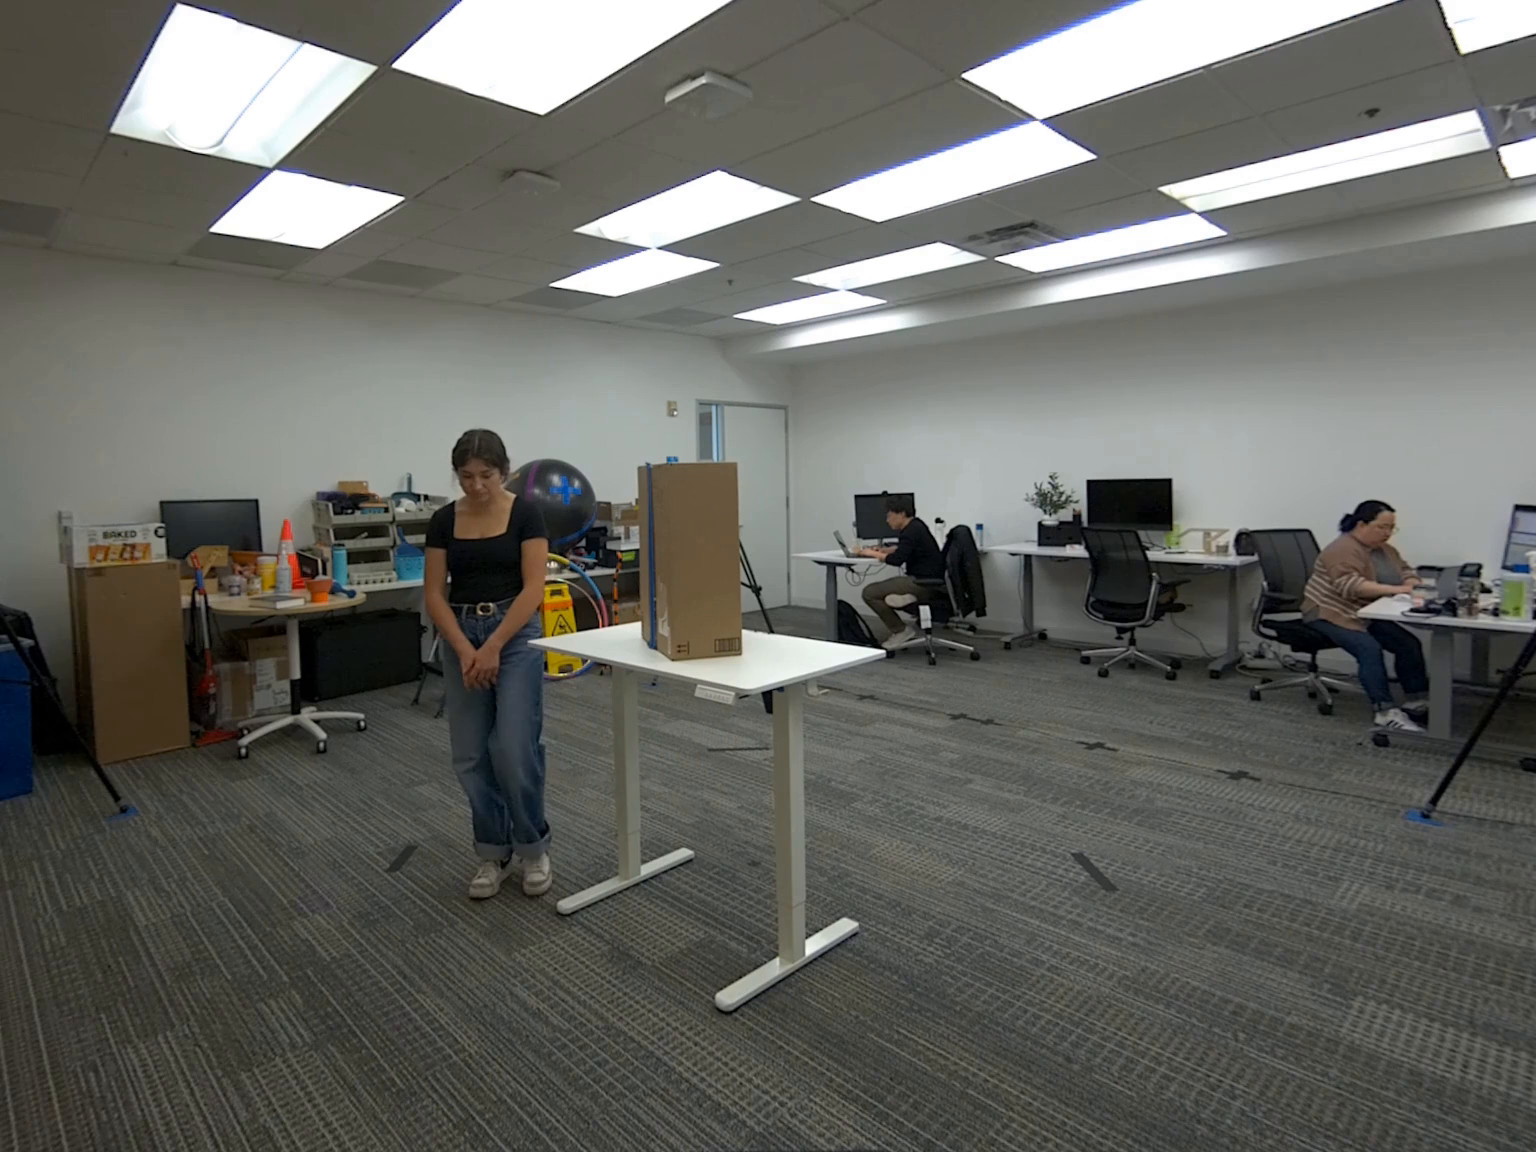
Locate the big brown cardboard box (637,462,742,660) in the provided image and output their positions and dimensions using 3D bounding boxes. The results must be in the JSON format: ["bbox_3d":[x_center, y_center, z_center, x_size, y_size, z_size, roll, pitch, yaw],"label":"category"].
[{"bbox_3d":[-0.251,-0.060,2.652,0.229,0.588,0.425,-2,3,-19],"label":"big brown cardboard box"}]
